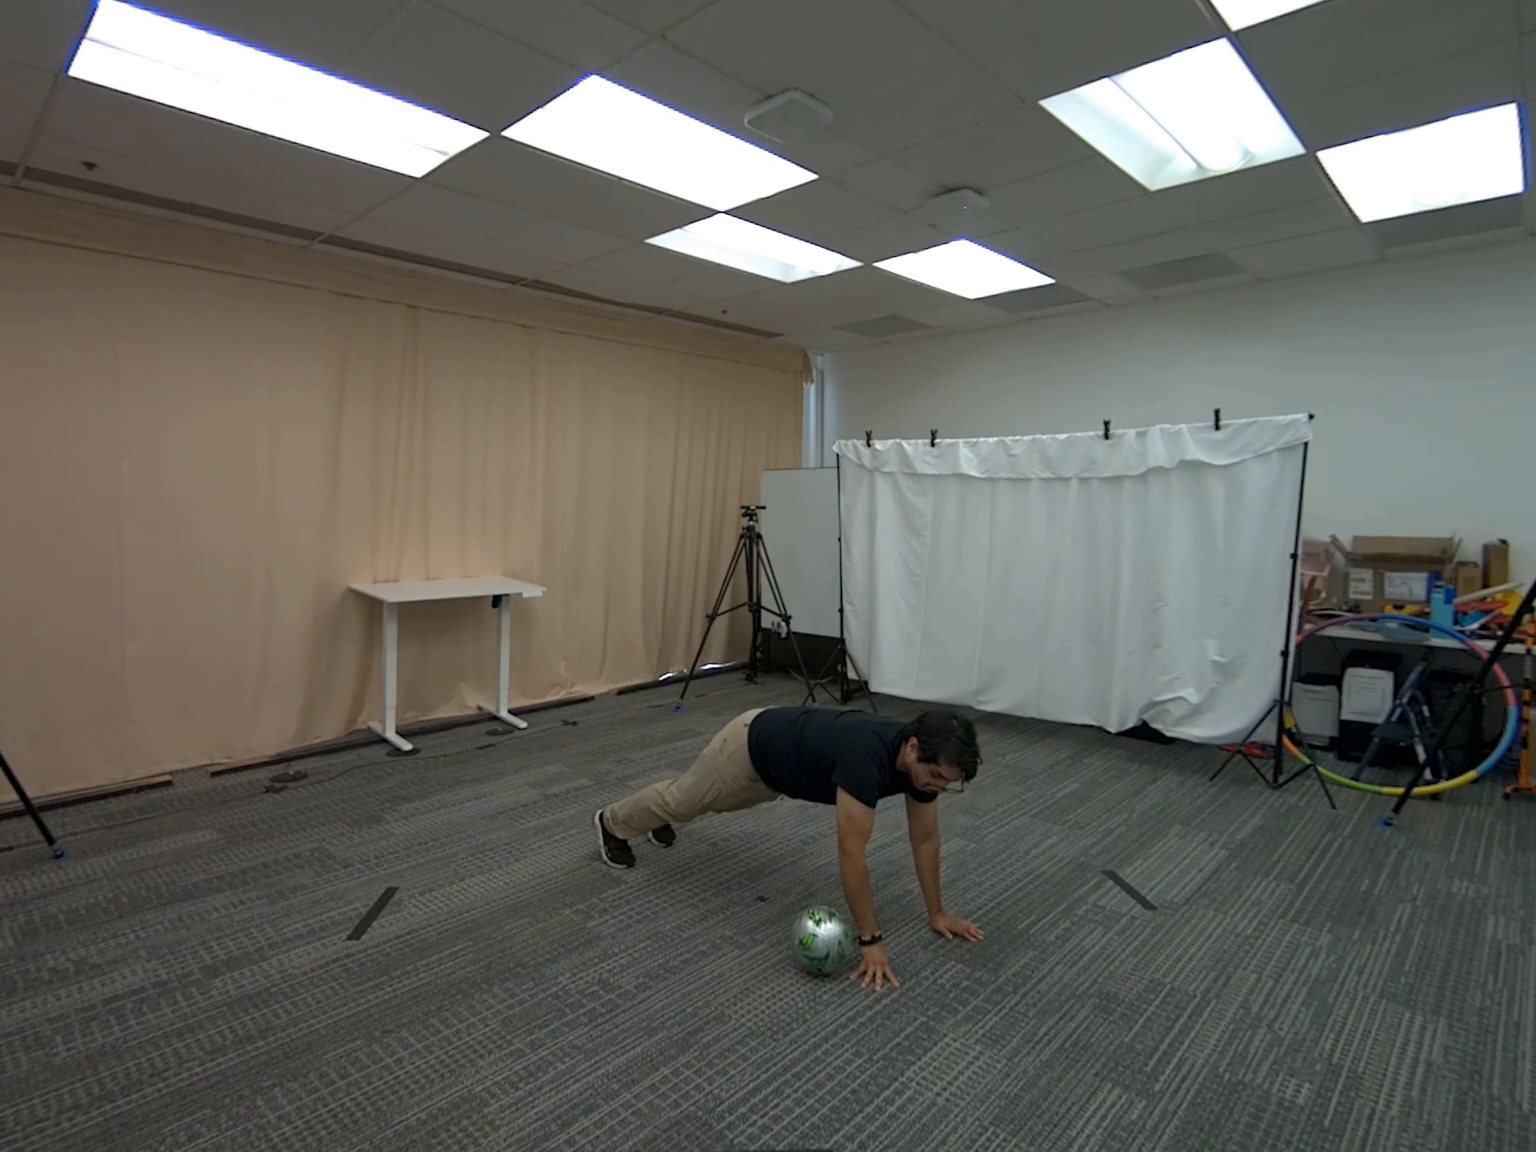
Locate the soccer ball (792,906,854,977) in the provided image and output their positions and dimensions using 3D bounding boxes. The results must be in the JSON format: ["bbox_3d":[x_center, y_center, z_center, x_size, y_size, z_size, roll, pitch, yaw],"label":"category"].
[{"bbox_3d":[0.166,1.087,2.518,0.187,0.187,0.188,0,4,-2],"label":"soccer ball"}]
